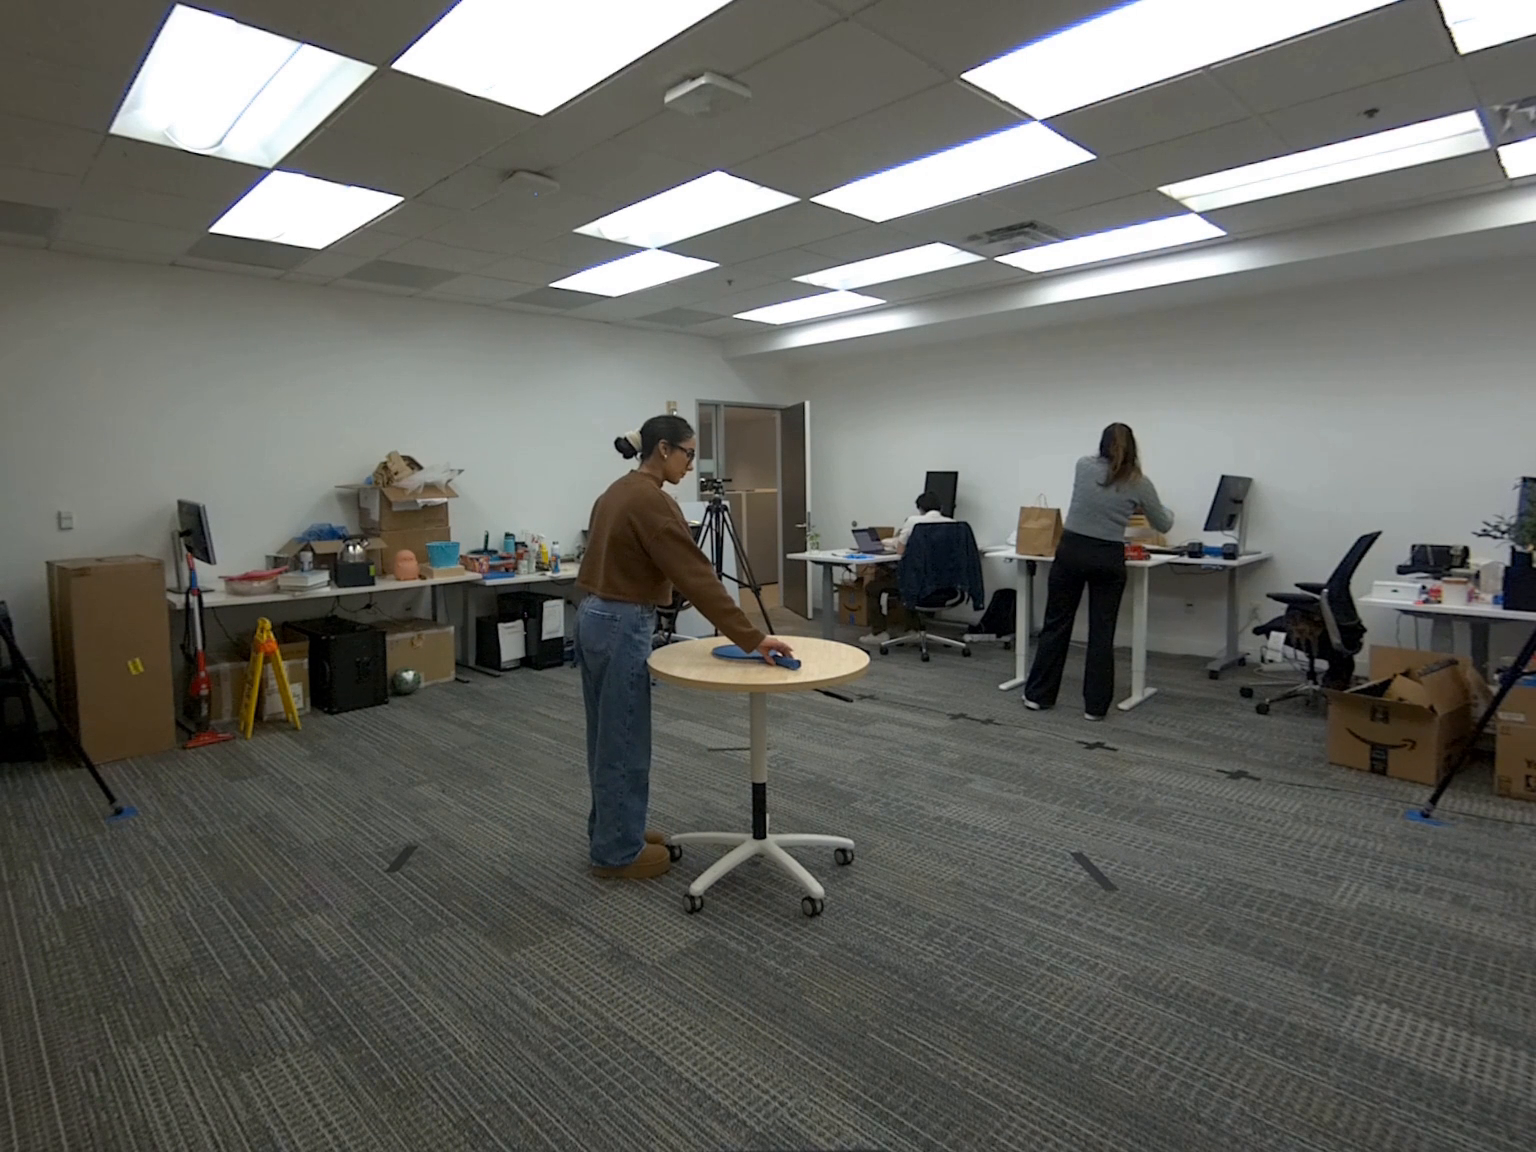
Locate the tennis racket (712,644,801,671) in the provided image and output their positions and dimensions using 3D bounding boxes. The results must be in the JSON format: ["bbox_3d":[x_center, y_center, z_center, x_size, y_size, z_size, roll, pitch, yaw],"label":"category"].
[{"bbox_3d":[-0.041,0.273,2.919,0.208,0.031,0.445,-4,6,-32],"label":"tennis racket"}]
